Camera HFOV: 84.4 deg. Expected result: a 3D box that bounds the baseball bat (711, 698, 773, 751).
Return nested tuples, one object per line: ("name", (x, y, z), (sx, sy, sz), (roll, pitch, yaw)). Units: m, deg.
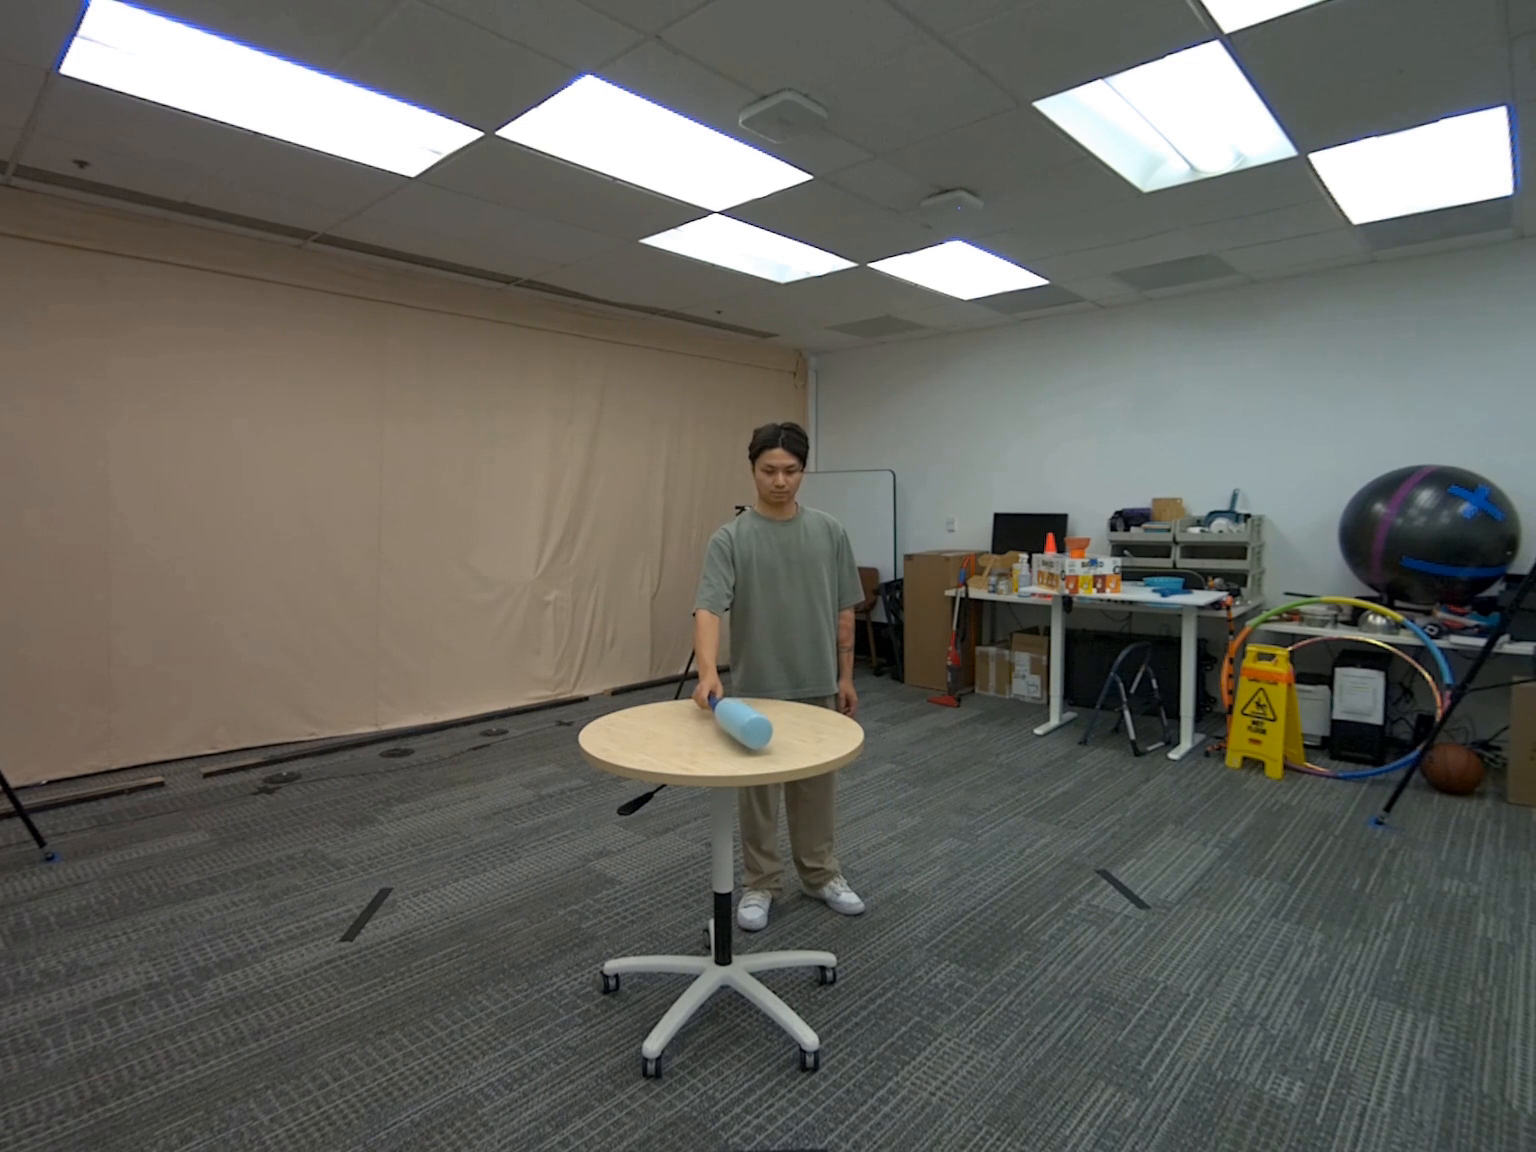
("baseball bat", (-0.115, 0.365, 2.286), (0.087, 0.089, 0.553), (-1, 3, -19))
